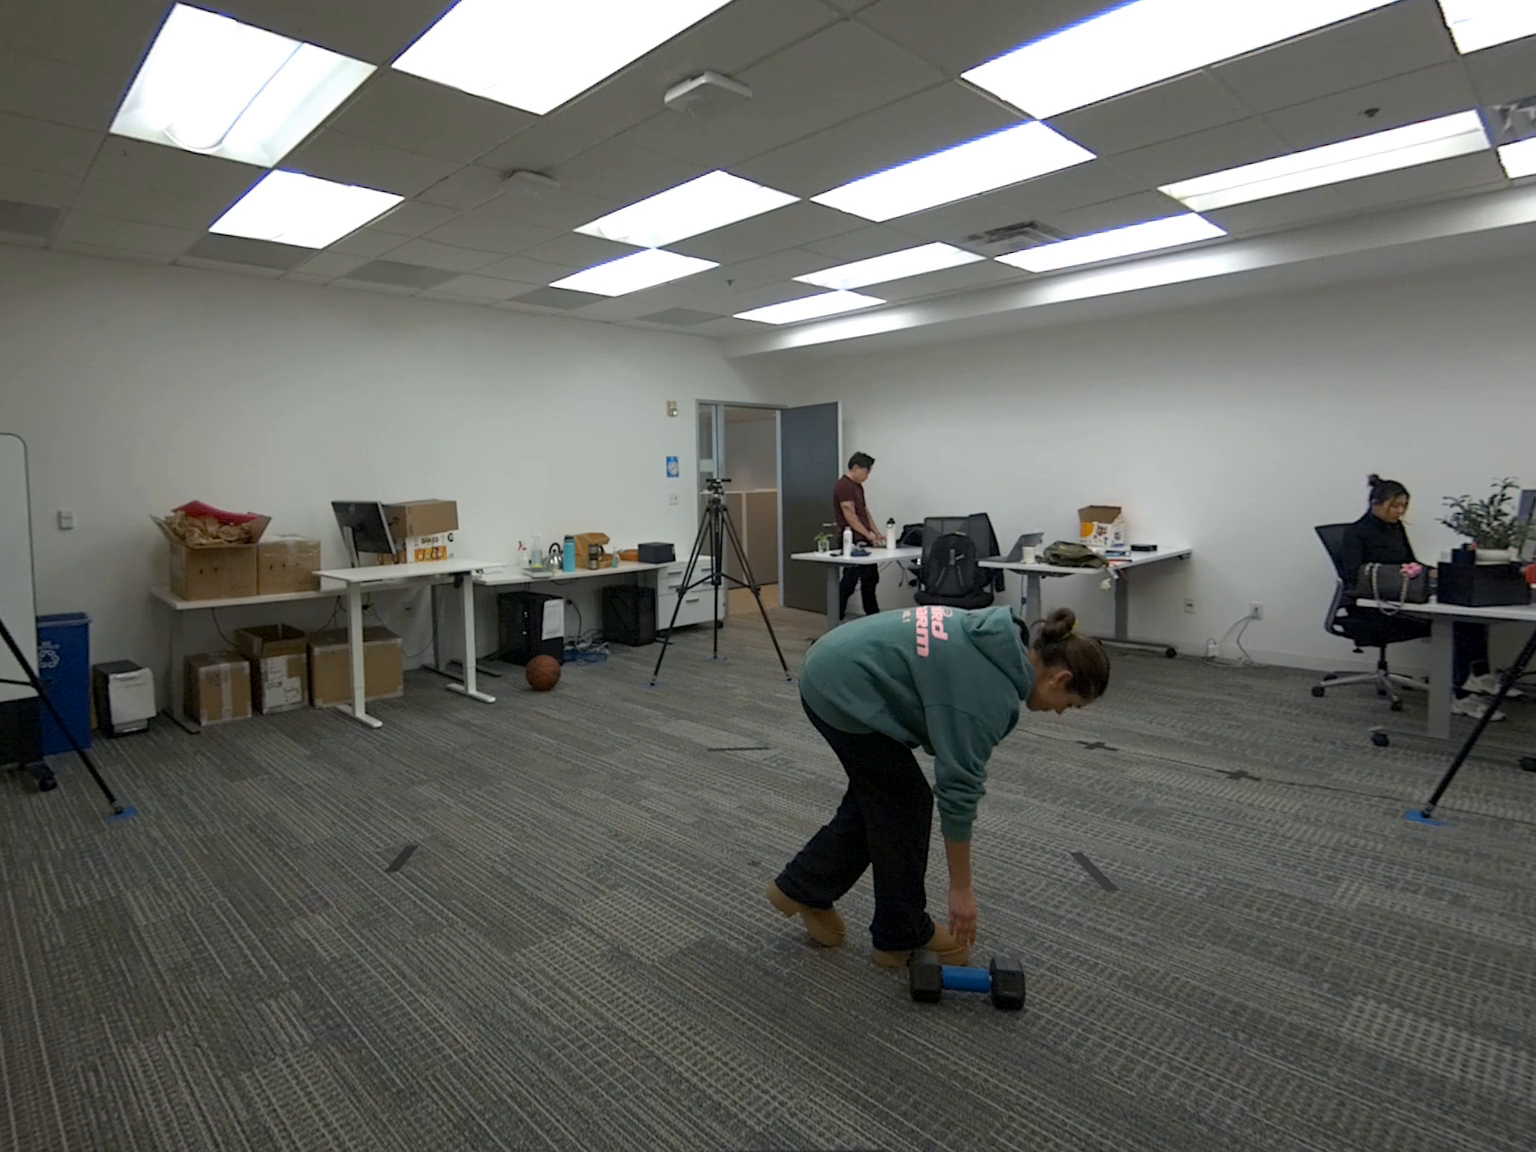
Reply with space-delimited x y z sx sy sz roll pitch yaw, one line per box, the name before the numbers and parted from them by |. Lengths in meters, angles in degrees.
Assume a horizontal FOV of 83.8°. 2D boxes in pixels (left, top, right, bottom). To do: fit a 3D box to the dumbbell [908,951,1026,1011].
dumbbell | 0.537 1.080 2.270 0.296 0.119 0.111 -1 33 8
